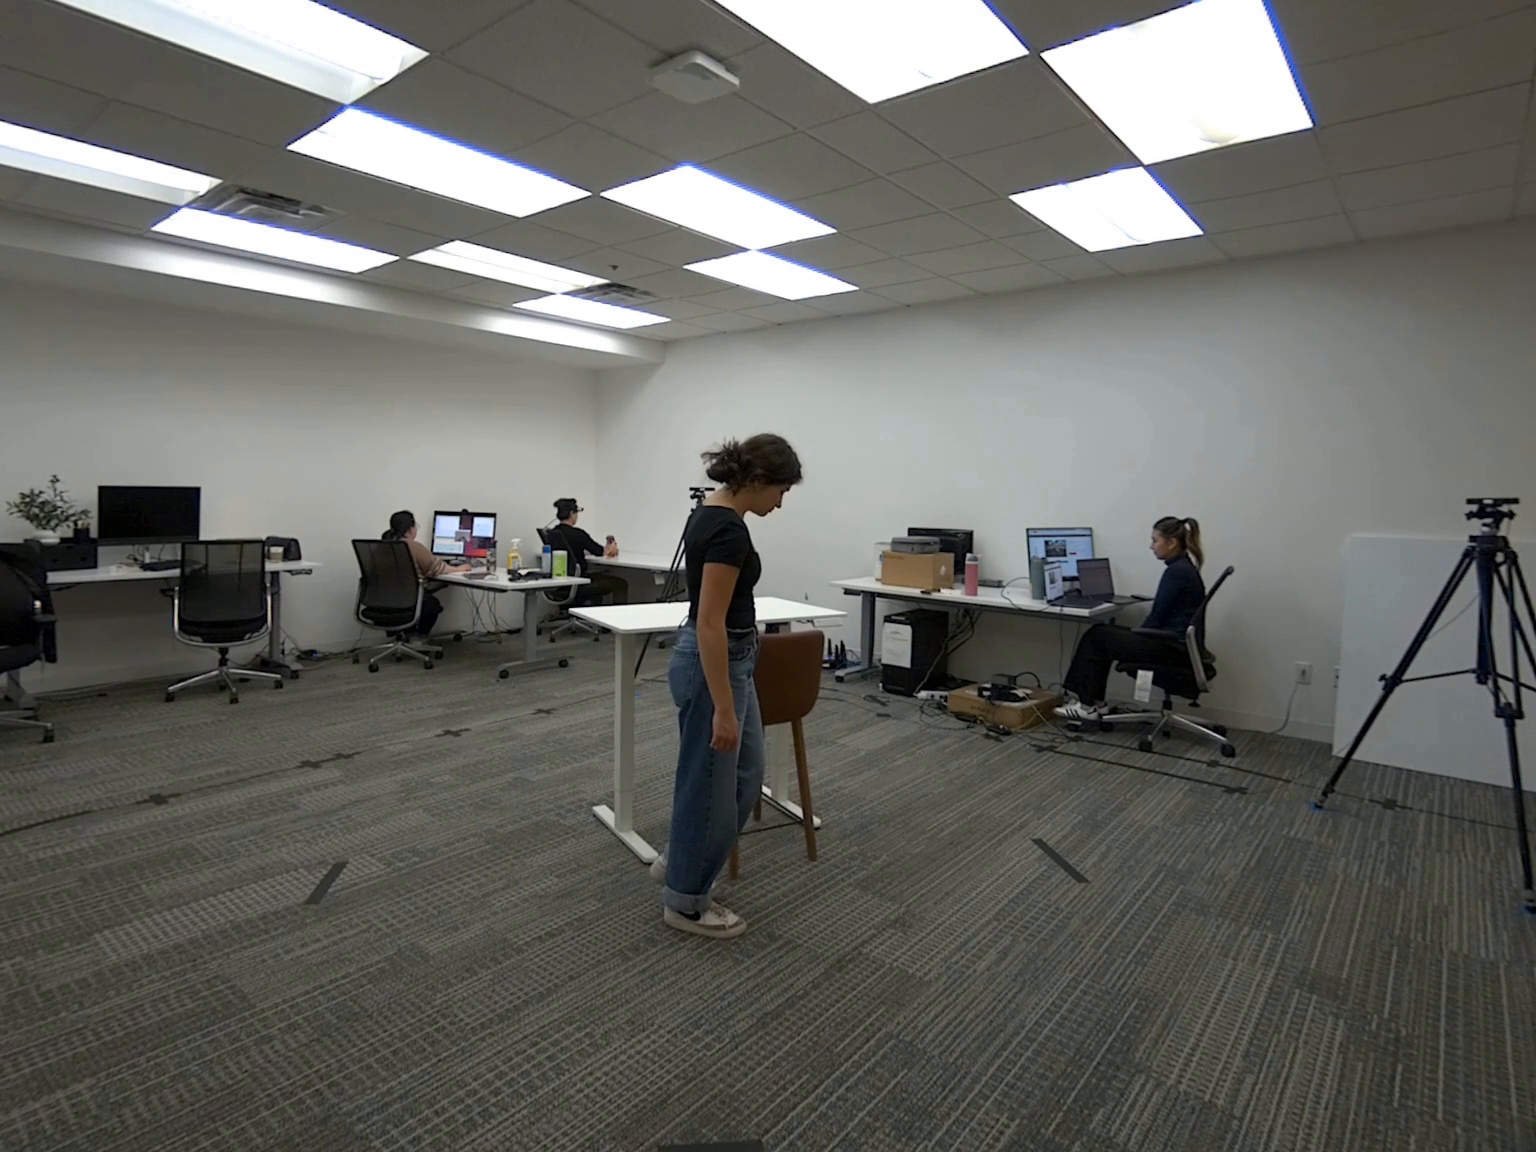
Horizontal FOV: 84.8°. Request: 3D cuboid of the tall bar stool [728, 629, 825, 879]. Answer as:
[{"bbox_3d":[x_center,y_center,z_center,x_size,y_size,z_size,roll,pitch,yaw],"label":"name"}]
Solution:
[{"bbox_3d":[-0.083,0.620,3.276,0.444,0.885,0.483,-1,7,-31],"label":"tall bar stool"}]
